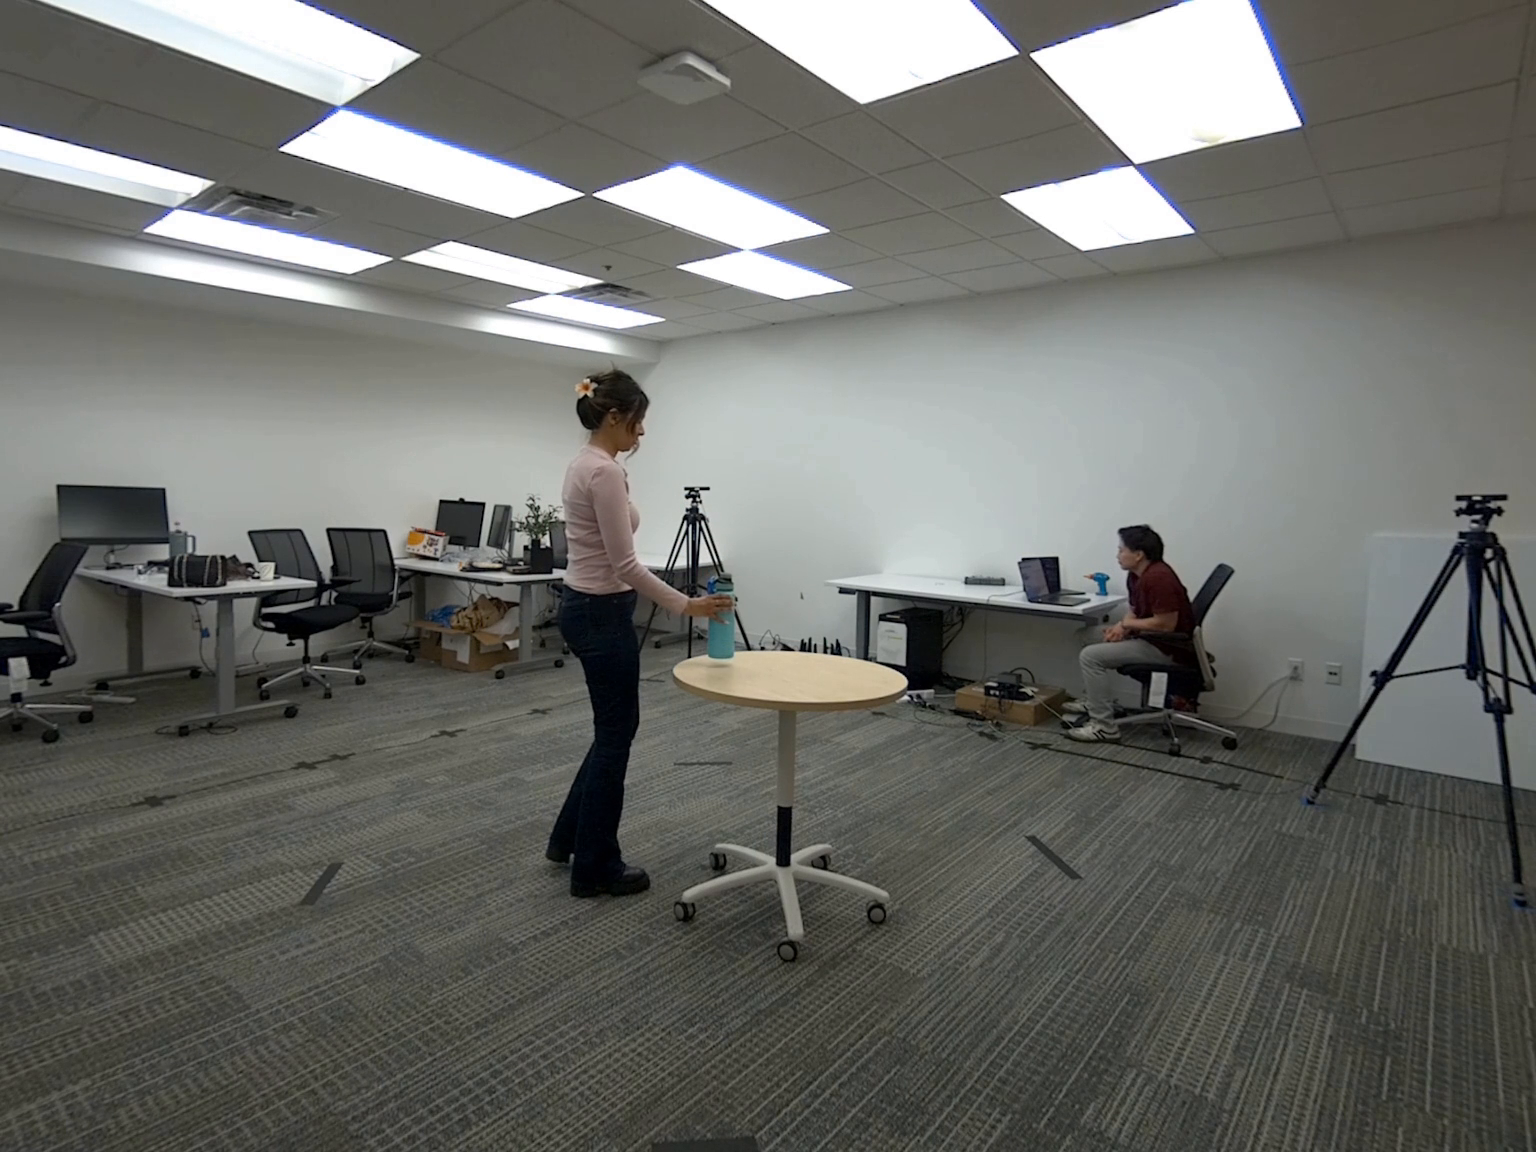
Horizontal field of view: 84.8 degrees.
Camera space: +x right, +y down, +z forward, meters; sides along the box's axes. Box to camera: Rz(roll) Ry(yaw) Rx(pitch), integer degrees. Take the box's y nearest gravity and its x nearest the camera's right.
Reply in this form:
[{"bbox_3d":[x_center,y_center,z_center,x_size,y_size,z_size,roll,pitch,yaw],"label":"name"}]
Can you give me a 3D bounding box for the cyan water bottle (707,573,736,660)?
[{"bbox_3d":[-0.171,0.135,2.872,0.092,0.282,0.093,0,4,-2],"label":"cyan water bottle"}]
